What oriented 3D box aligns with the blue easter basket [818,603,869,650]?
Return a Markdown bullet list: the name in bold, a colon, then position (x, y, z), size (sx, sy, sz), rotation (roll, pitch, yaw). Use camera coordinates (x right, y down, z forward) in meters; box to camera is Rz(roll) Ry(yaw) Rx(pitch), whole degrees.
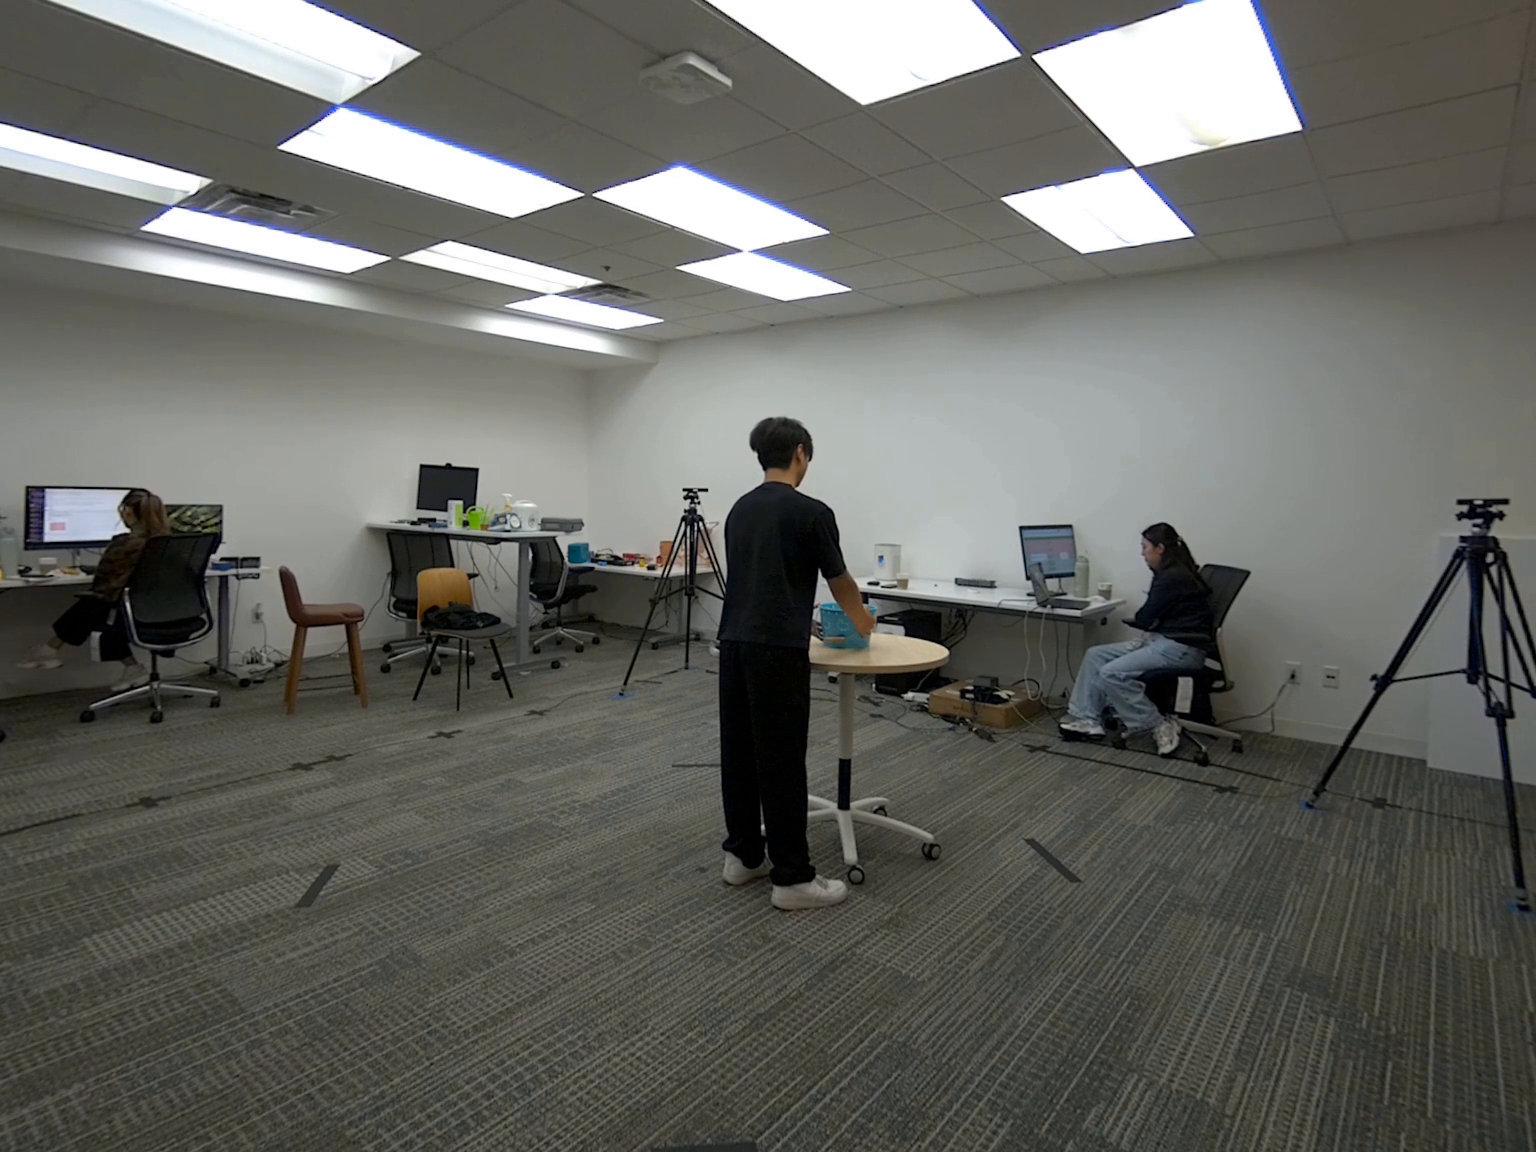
- **blue easter basket**: position (0.304, 0.195, 3.374), size (0.243, 0.155, 0.245), rotation (2, 5, -2)
